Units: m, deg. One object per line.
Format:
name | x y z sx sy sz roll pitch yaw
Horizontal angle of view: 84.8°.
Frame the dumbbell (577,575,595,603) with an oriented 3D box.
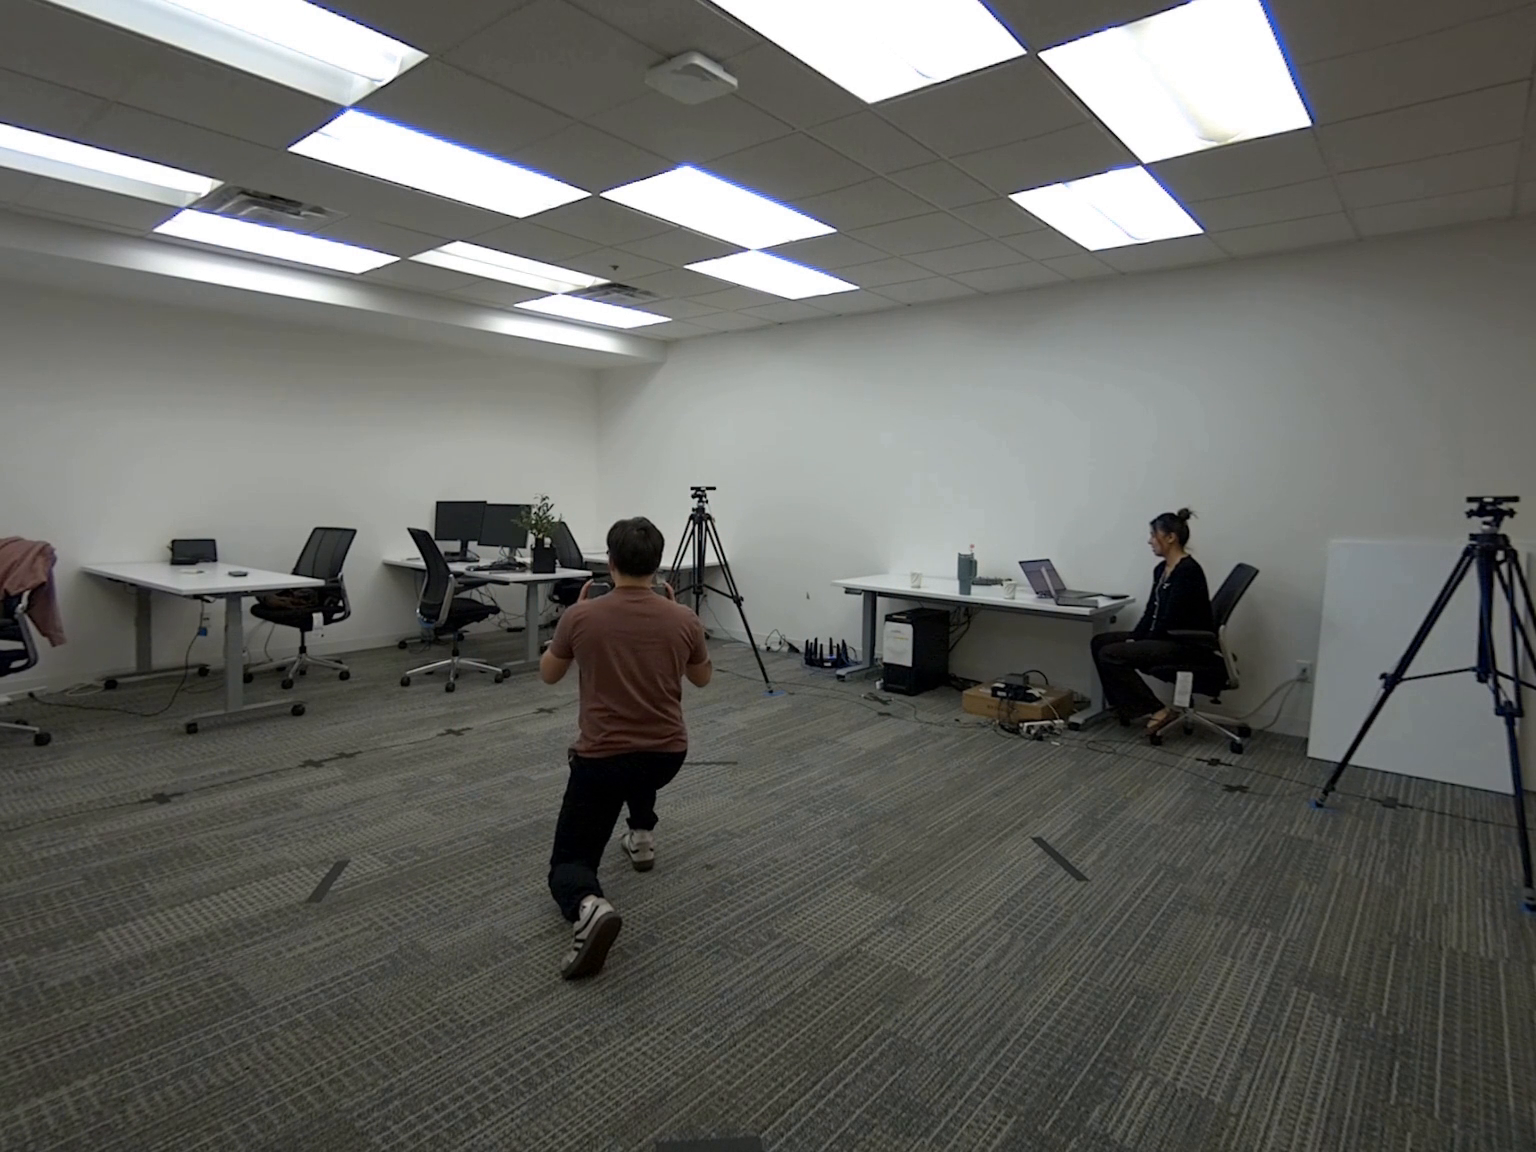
dumbbell | -0.546 0.083 3.072 0.294 0.108 0.123 7 5 0
